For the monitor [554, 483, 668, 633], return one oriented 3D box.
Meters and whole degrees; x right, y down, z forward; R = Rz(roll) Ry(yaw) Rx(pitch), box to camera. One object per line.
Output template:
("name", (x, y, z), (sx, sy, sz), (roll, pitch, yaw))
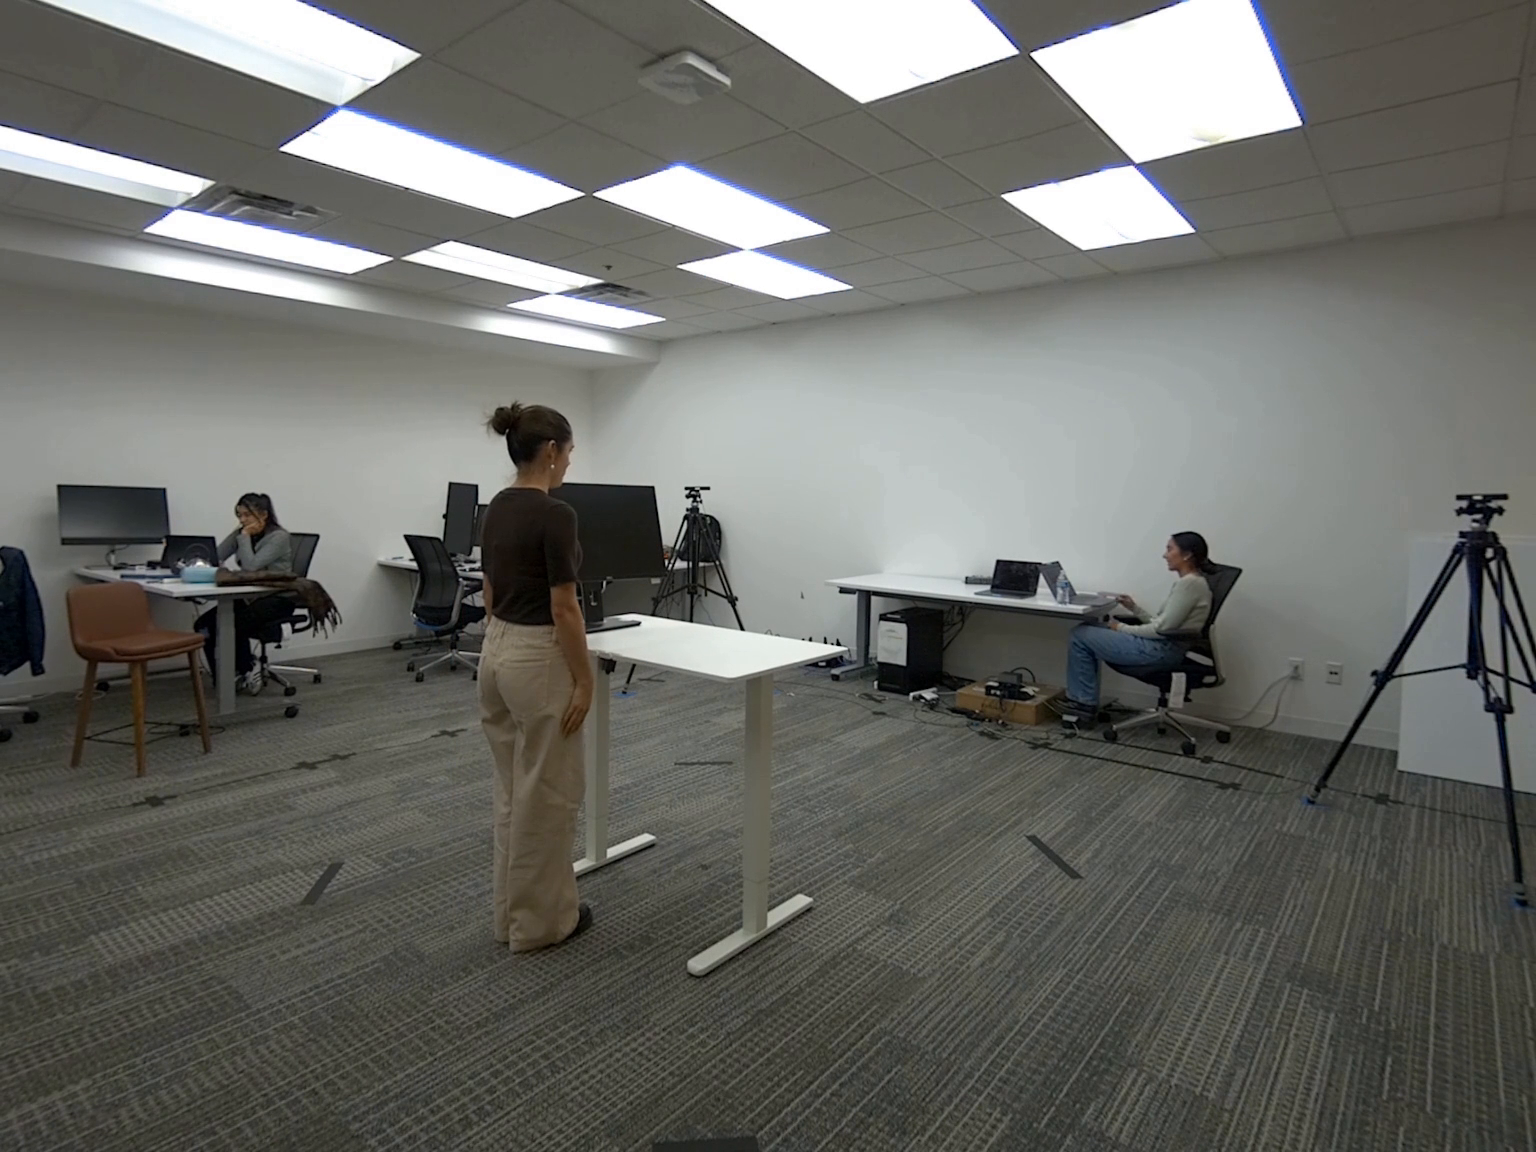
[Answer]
("monitor", (-0.639, -0.069, 3.052), (0.193, 0.521, 0.523), (1, 4, 44))
